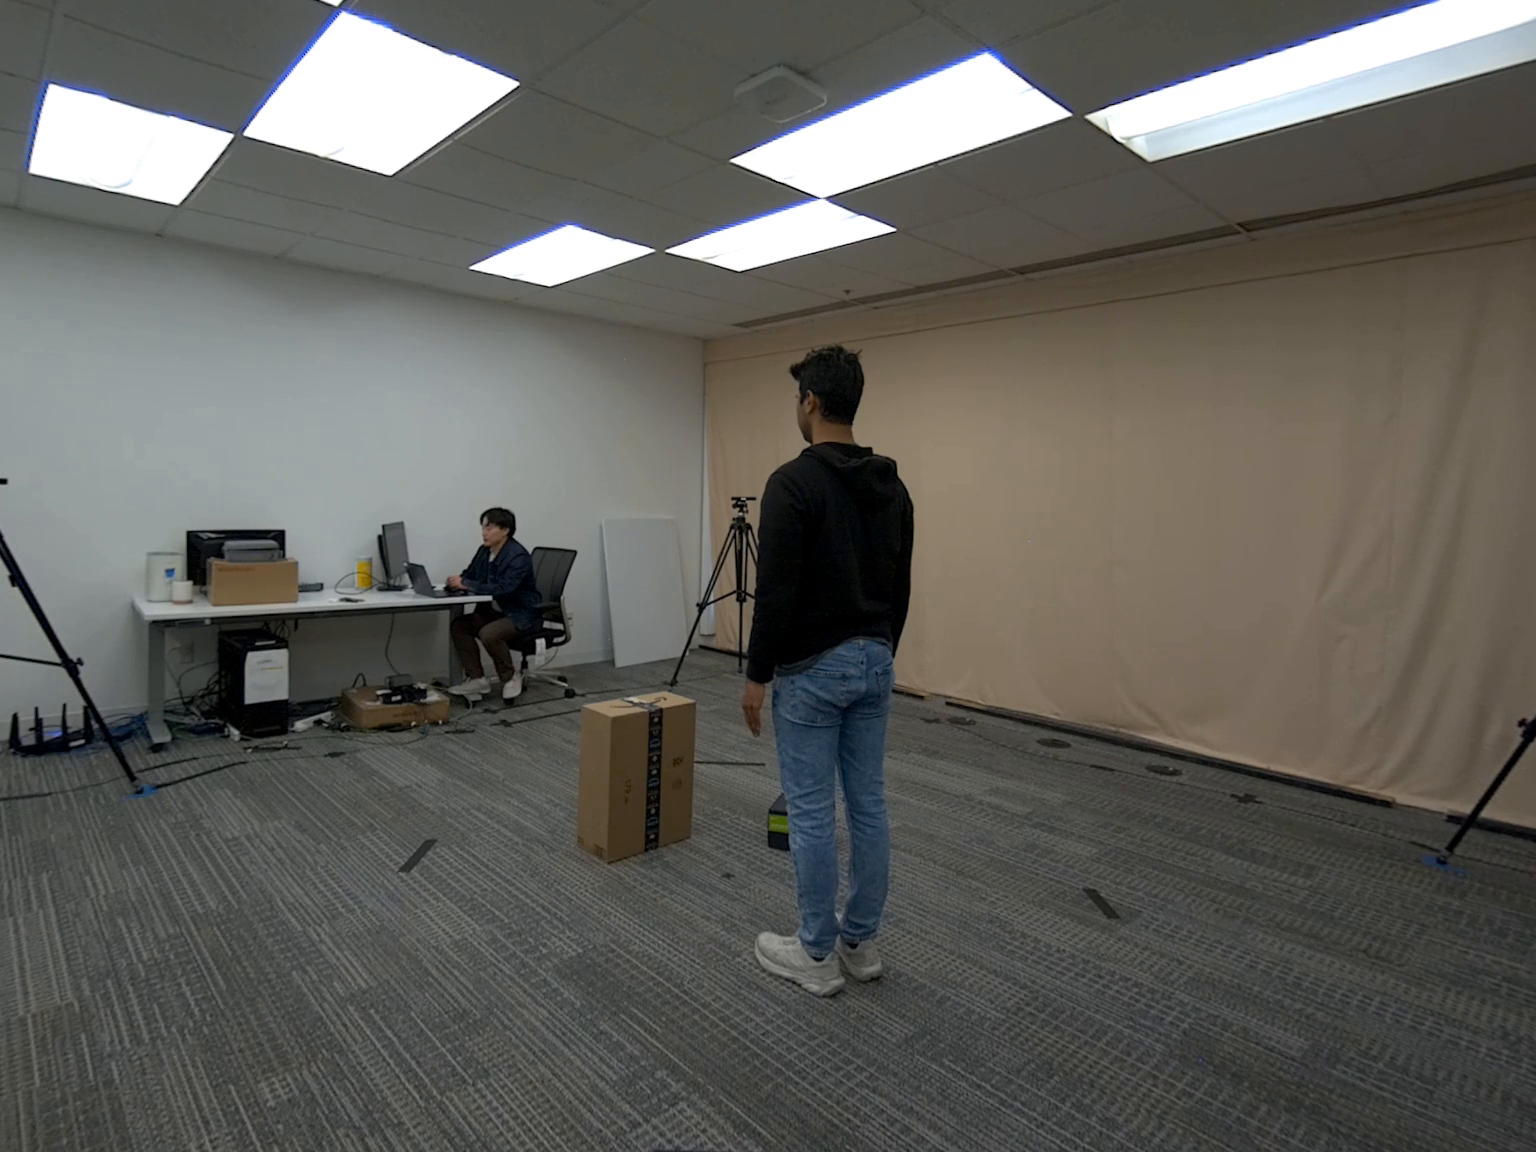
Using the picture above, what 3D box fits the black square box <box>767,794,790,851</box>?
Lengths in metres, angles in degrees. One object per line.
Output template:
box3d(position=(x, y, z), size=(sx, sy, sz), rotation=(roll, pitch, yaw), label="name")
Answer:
box3d(position=(0.130, 1.001, 3.429), size=(0.231, 0.155, 0.214), rotation=(3, 5, 17), label="black square box")
